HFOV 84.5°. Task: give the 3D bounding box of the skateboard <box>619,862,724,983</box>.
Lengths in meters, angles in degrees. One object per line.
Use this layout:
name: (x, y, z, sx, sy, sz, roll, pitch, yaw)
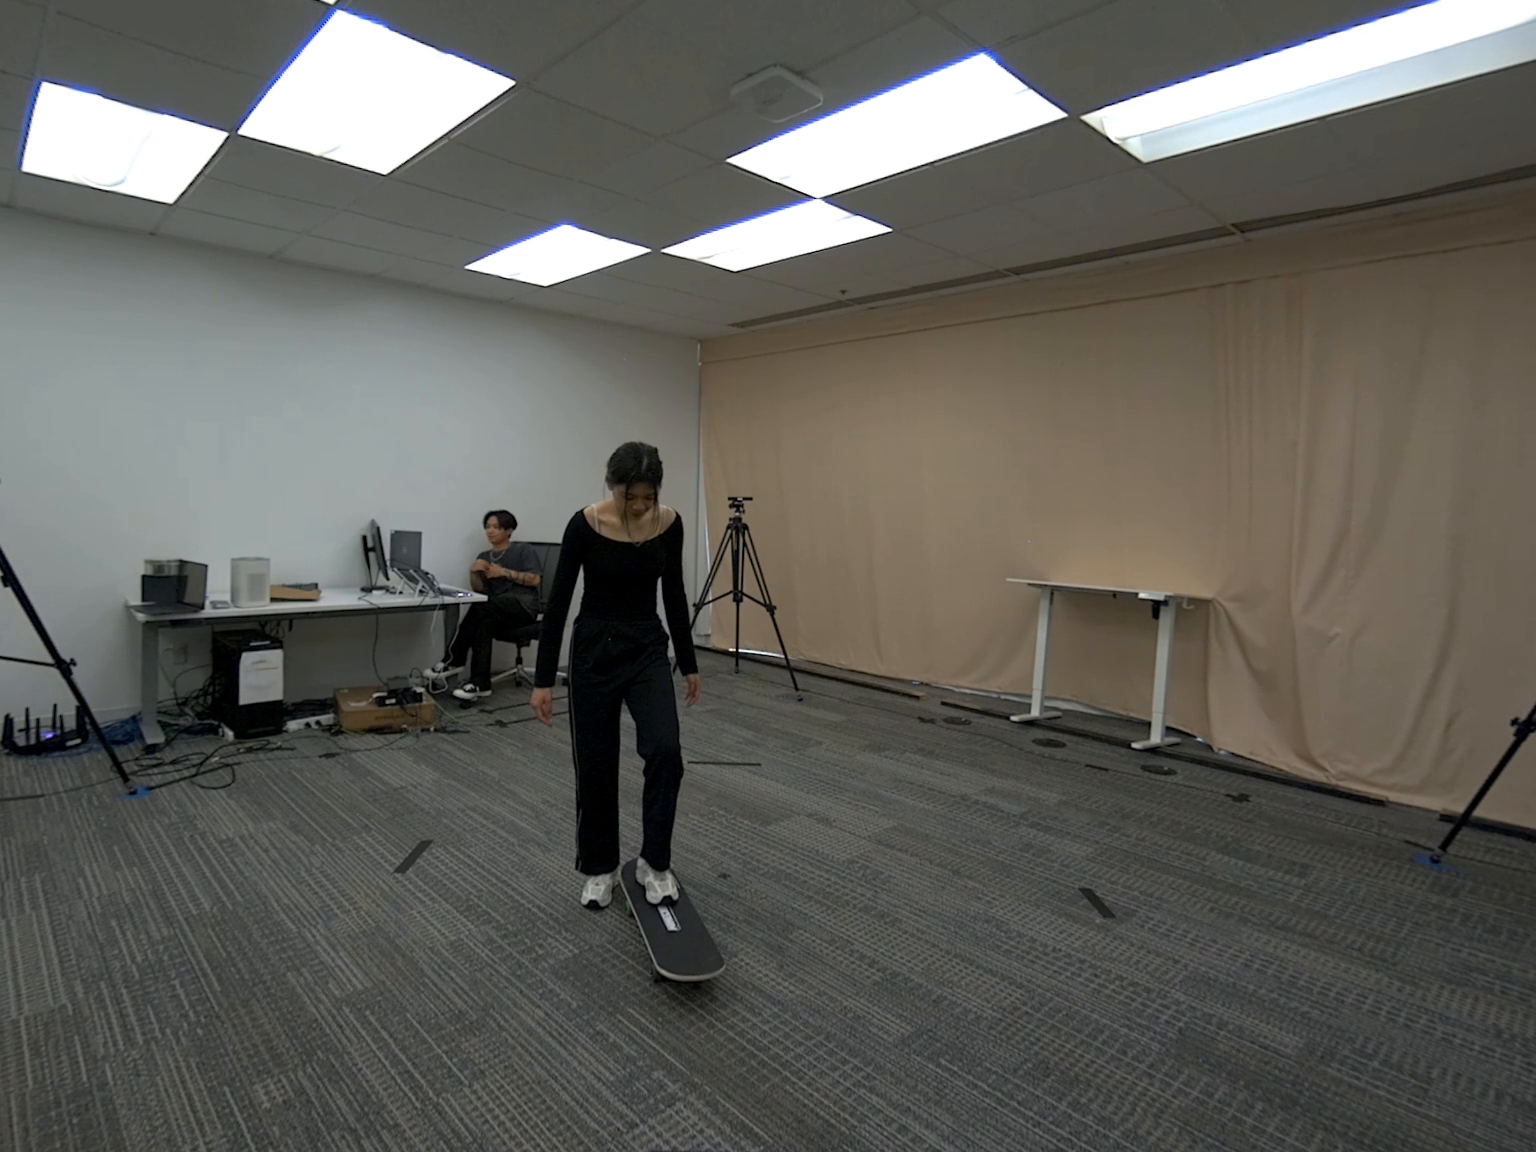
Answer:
skateboard: (-0.324, 1.090, 2.630, 0.191, 0.110, 0.799, -1, 5, -20)
